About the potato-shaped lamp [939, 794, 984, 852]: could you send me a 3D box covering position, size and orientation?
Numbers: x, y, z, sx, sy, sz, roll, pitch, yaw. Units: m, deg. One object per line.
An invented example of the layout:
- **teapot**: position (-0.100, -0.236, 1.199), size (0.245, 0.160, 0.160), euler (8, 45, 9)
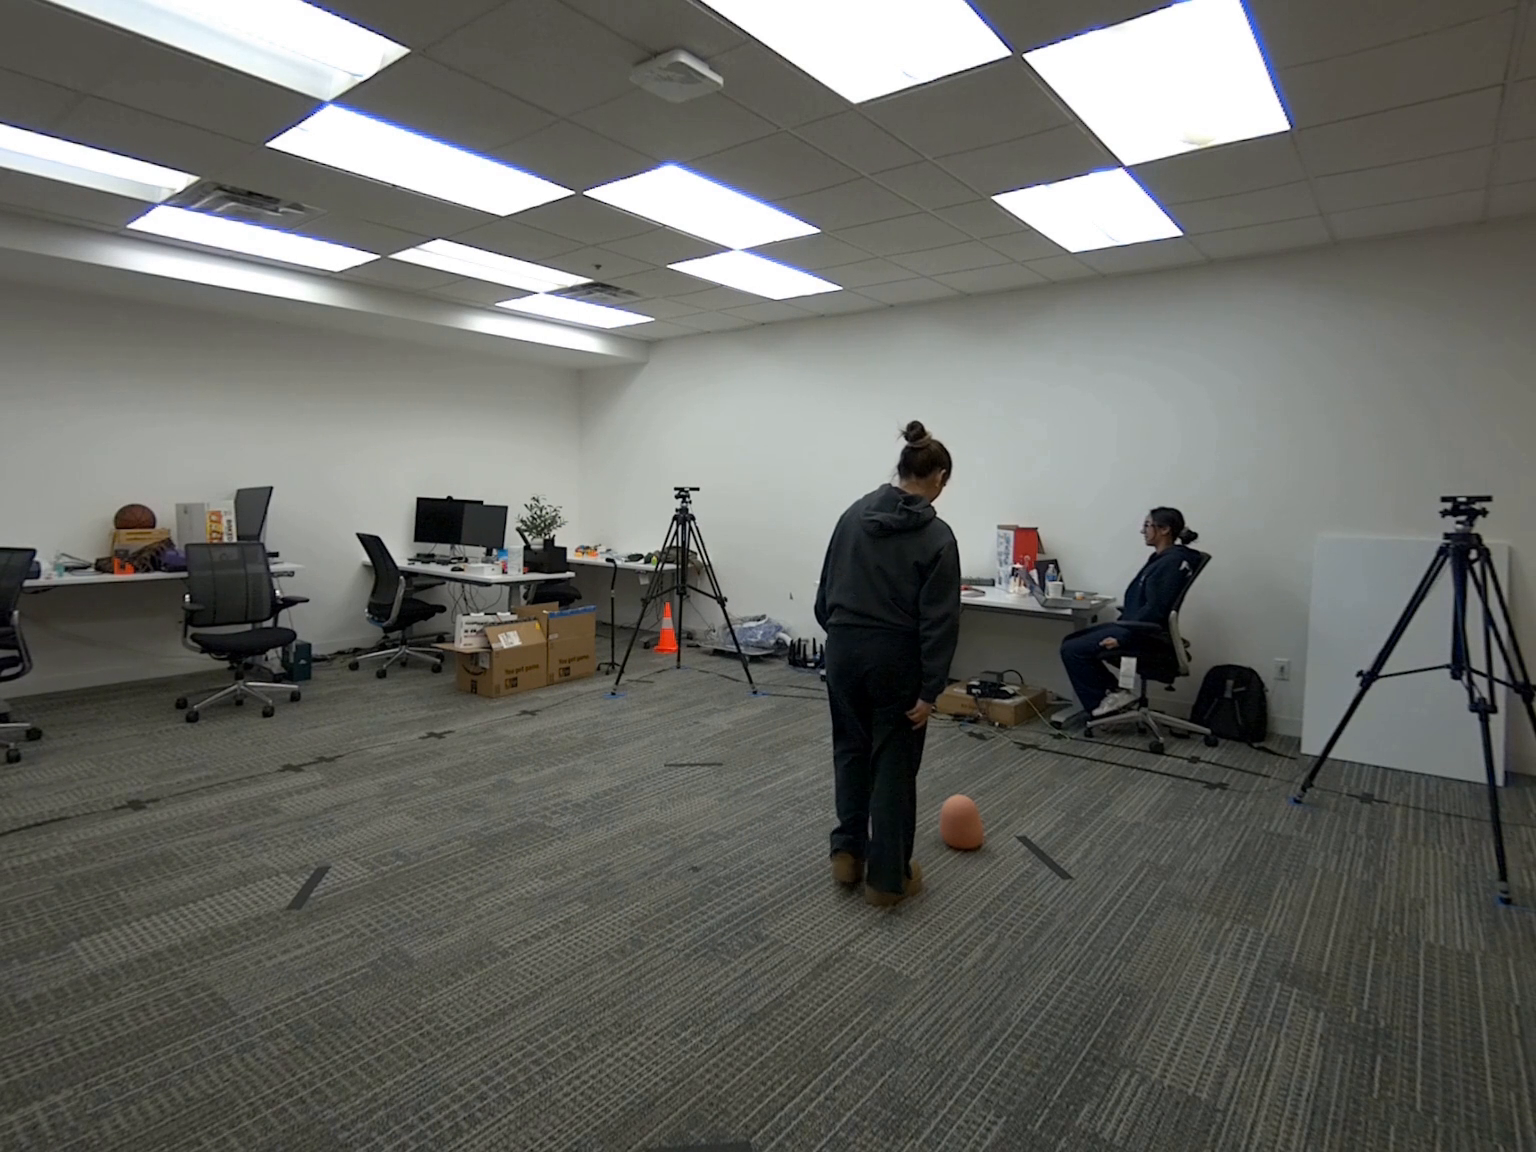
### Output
- **potato-shaped lamp**: position (0.763, 0.956, 3.367), size (0.170, 0.197, 0.167), euler (5, 10, 44)
